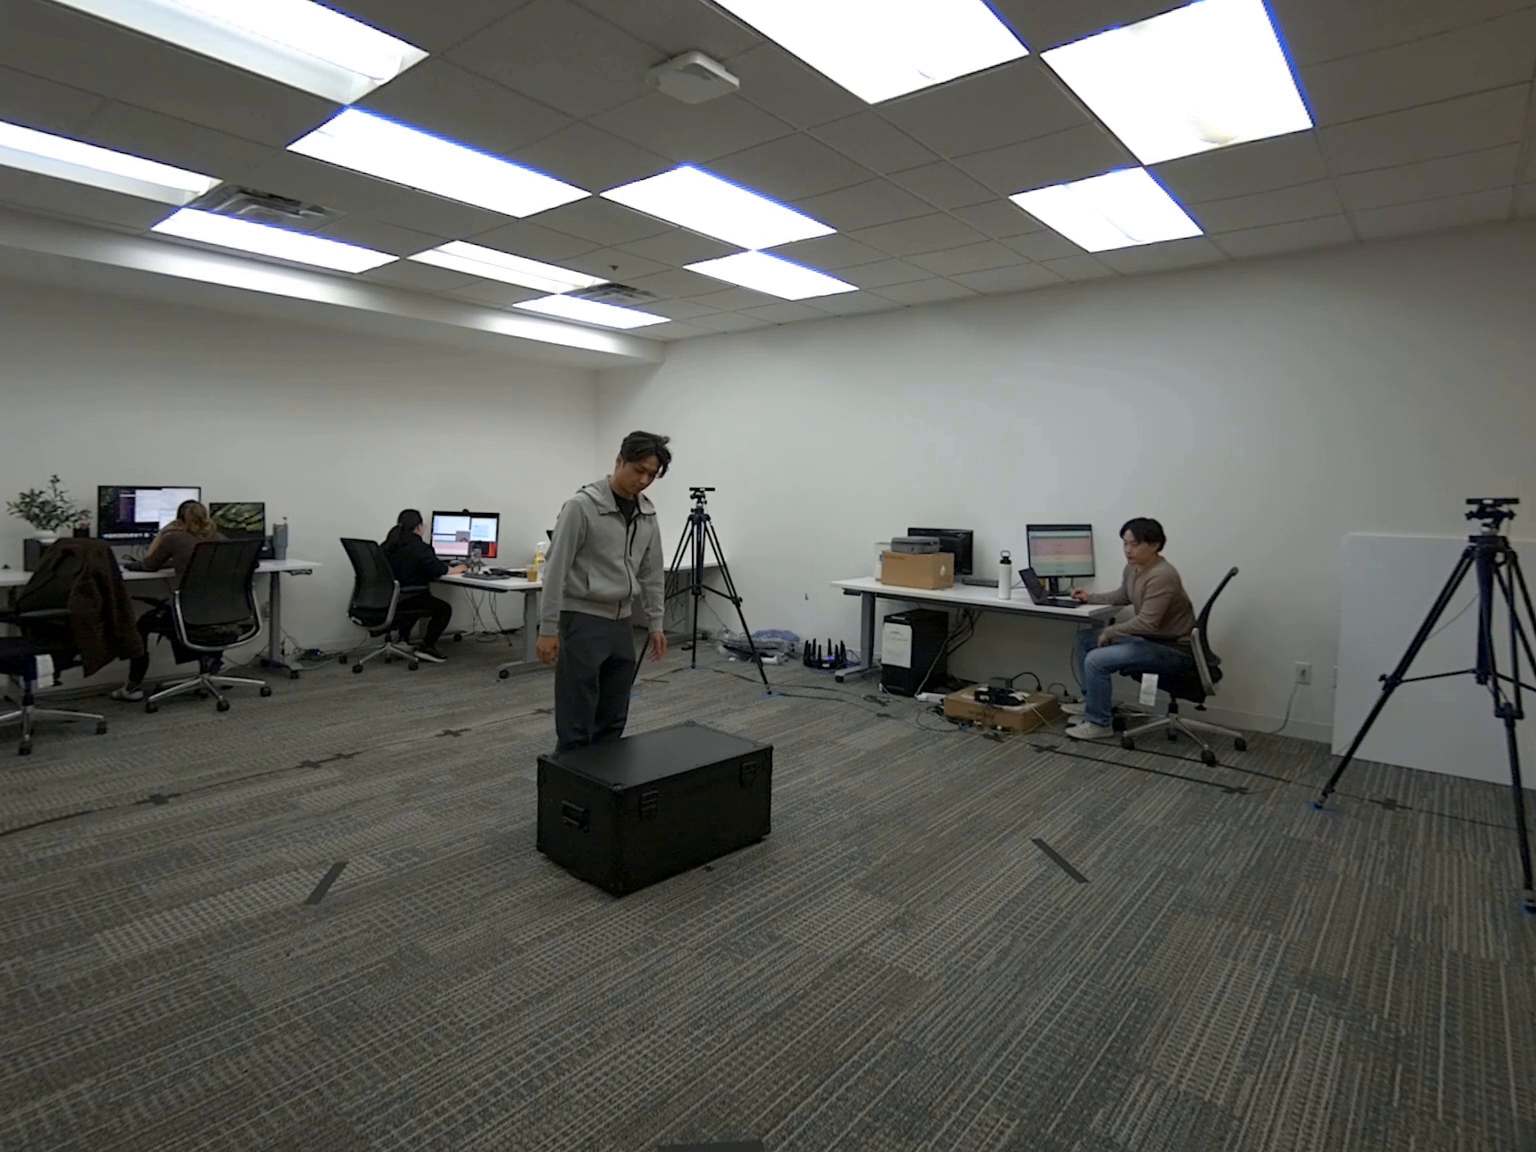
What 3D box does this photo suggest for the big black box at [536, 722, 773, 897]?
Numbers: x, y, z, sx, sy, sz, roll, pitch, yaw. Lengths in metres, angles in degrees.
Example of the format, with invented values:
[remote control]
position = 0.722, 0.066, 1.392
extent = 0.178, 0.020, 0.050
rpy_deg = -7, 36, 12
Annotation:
[big black box]
position = -0.408, 0.855, 3.291
extent = 0.539, 0.395, 0.836
rpy_deg = 5, 7, 43
